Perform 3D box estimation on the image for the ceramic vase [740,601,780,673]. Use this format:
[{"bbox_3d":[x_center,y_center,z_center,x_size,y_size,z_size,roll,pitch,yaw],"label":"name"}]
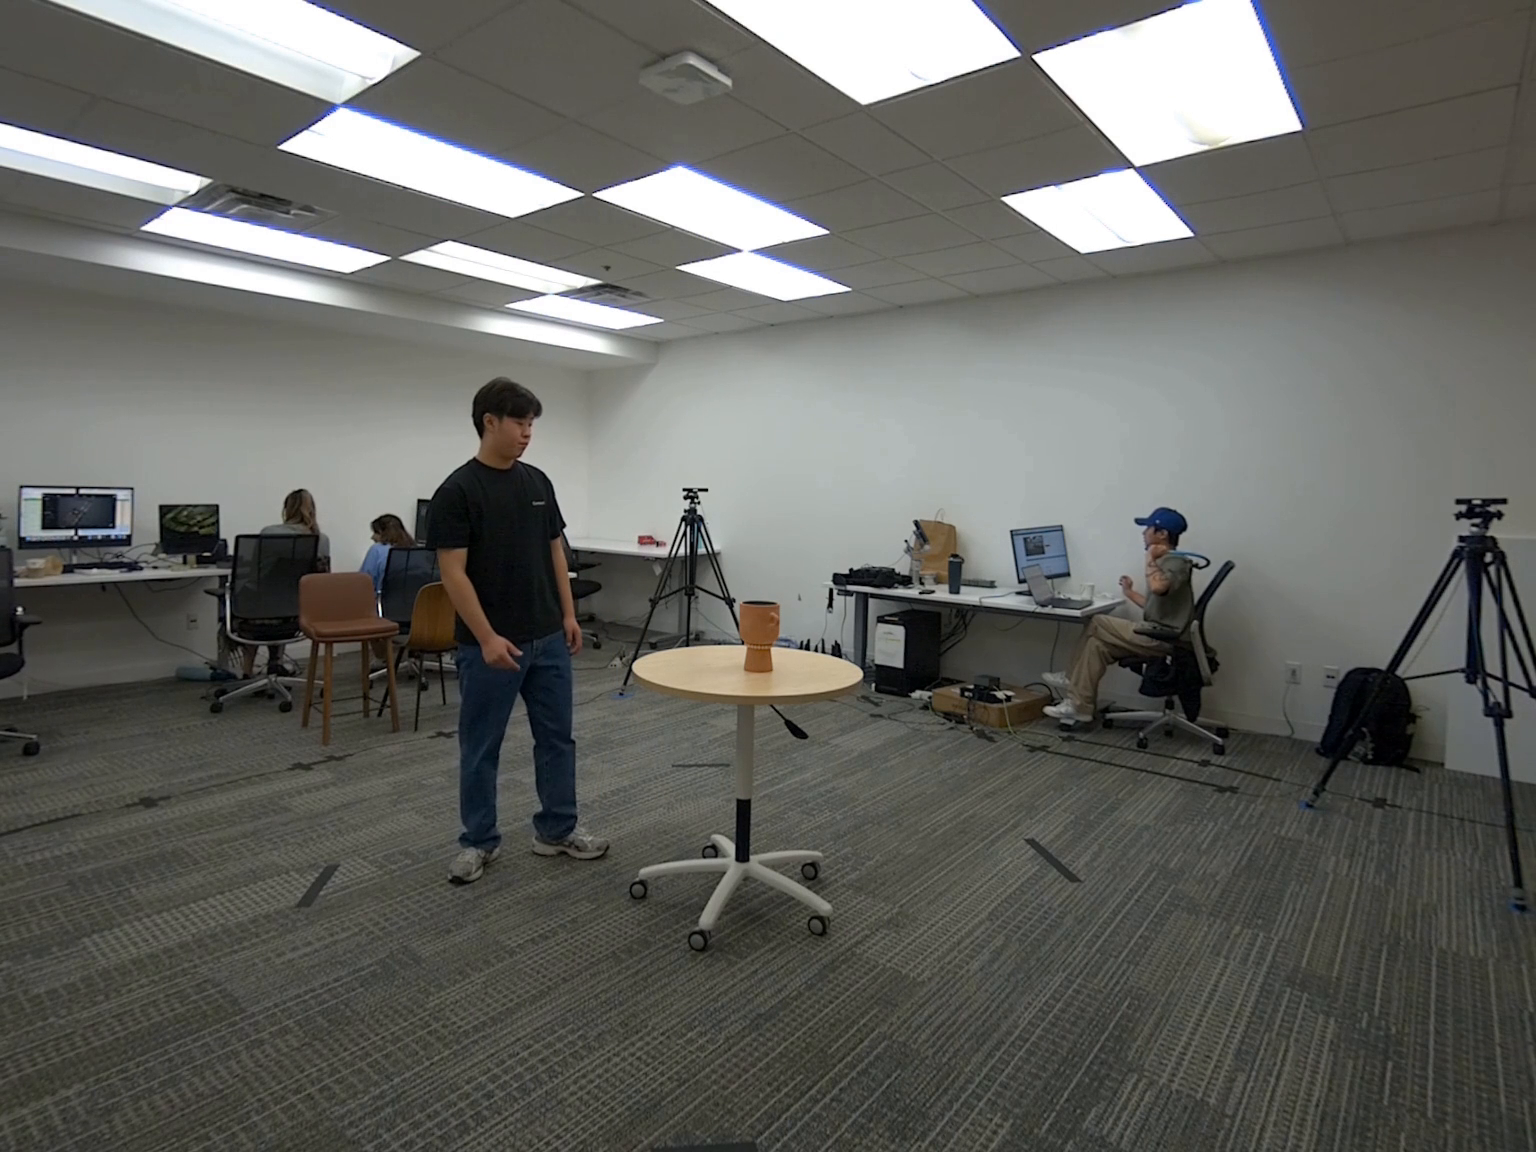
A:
[{"bbox_3d":[-0.036,0.199,2.801,0.135,0.219,0.159,1,5,3],"label":"ceramic vase"}]
